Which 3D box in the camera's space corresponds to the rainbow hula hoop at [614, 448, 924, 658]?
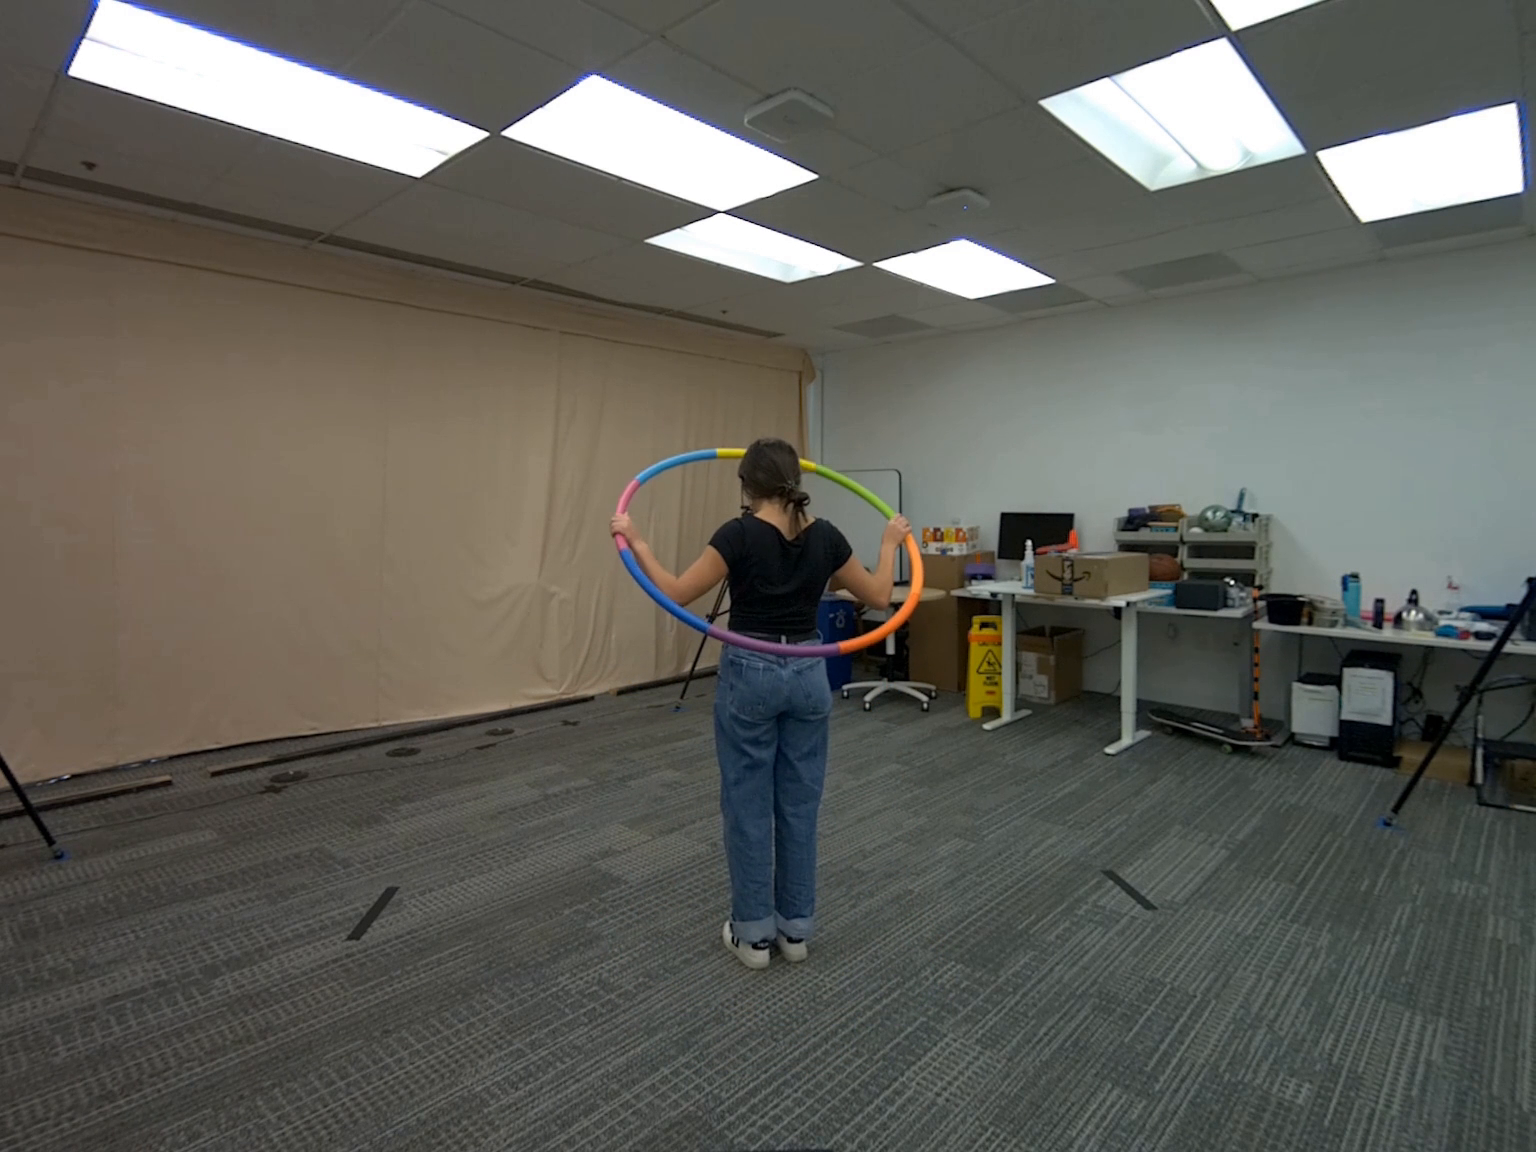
[{"bbox_3d":[0.020,-0.117,2.663,0.971,0.035,0.997,6,39,-7],"label":"rainbow hula hoop"}]
